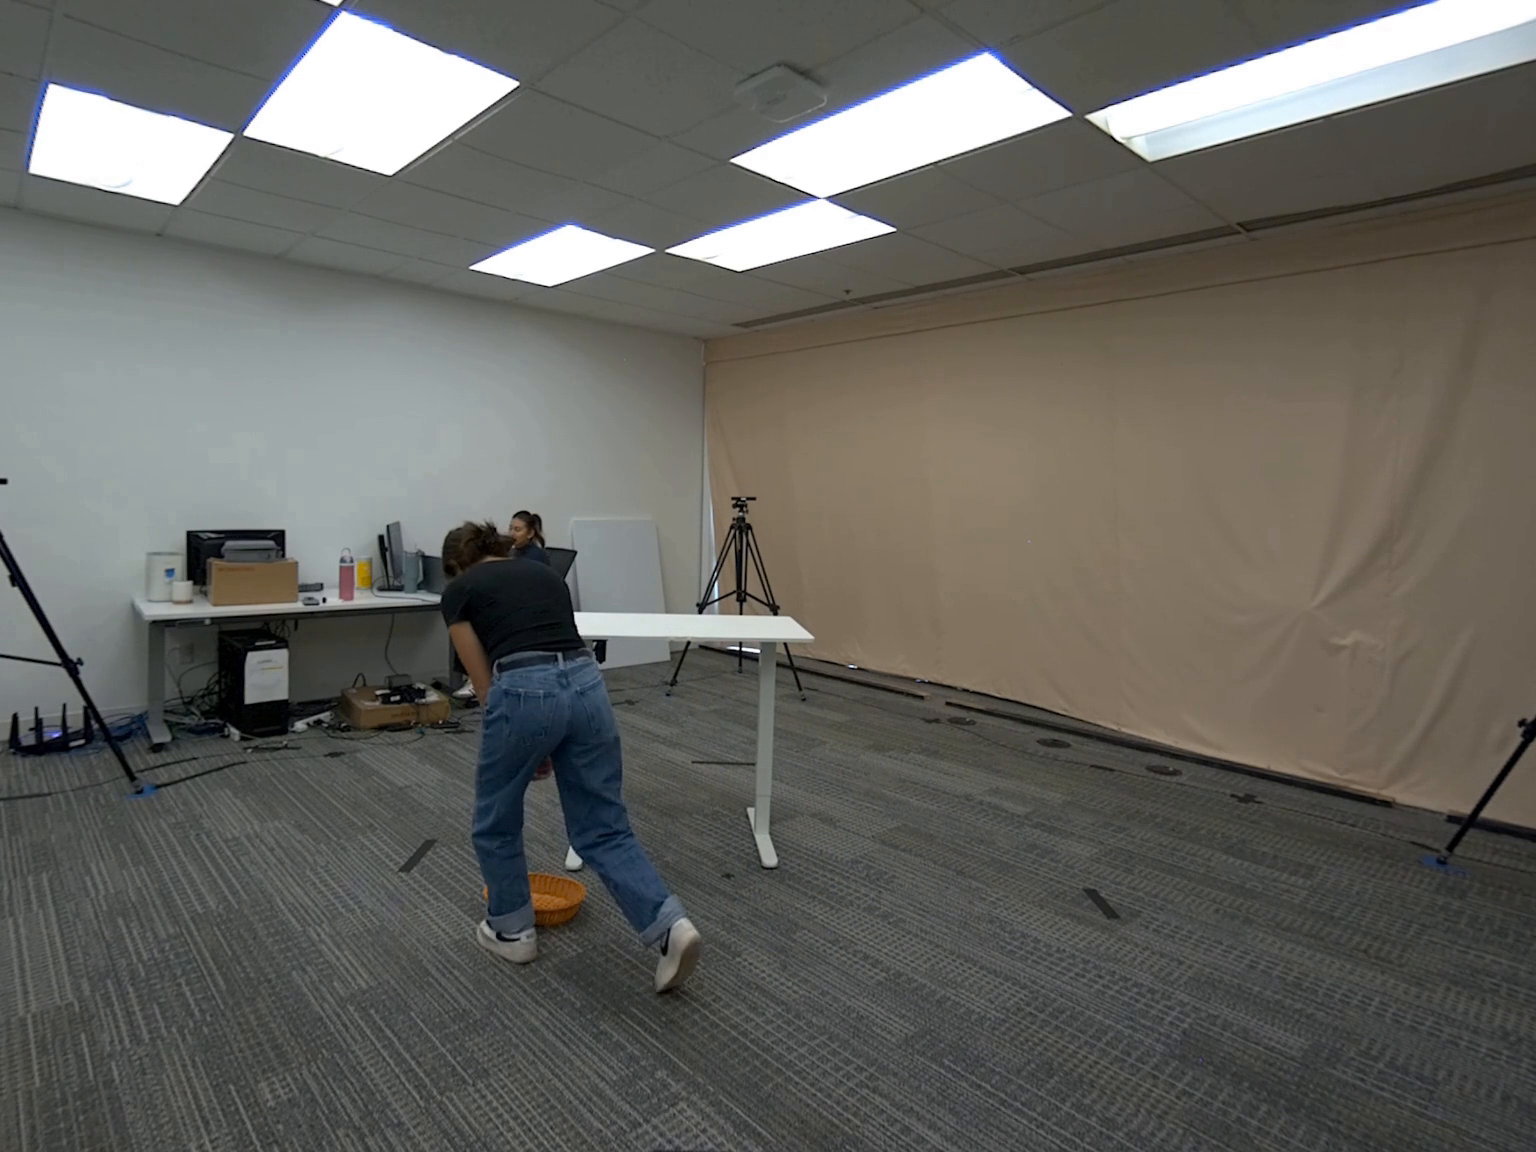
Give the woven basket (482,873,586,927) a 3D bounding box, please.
[{"bbox_3d":[-0.779,1.081,2.810,0.355,0.073,0.249,3,4,18],"label":"woven basket"}]
